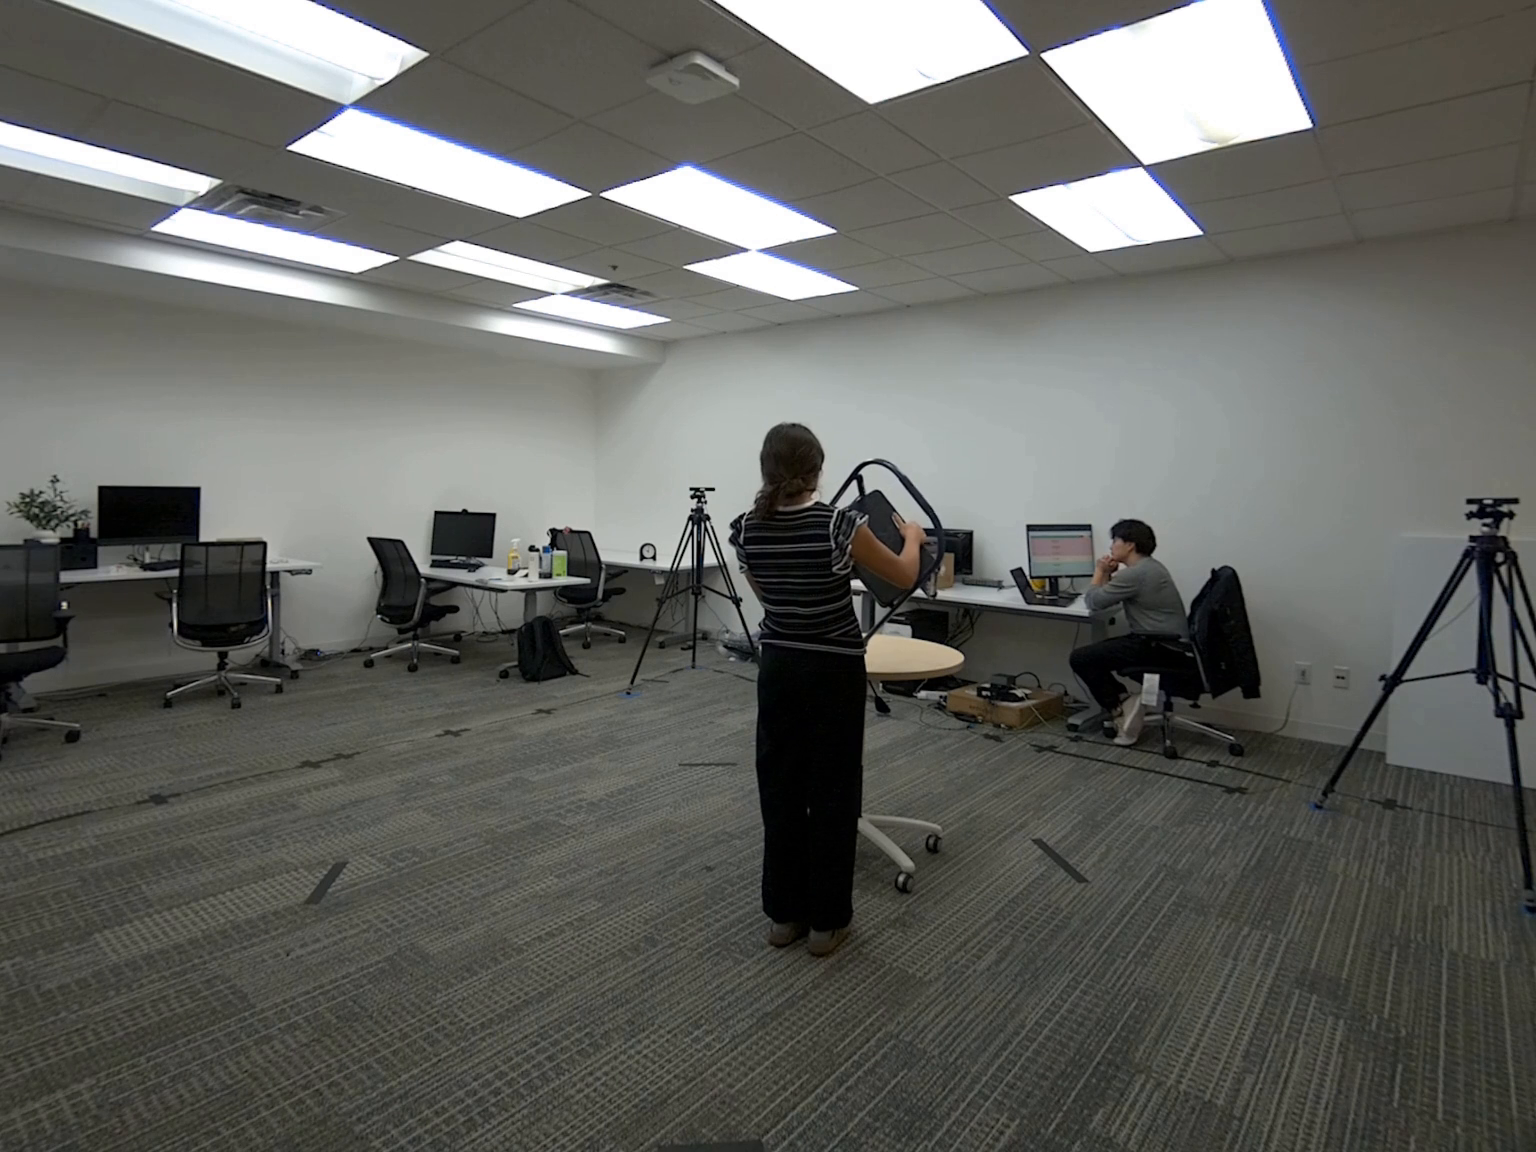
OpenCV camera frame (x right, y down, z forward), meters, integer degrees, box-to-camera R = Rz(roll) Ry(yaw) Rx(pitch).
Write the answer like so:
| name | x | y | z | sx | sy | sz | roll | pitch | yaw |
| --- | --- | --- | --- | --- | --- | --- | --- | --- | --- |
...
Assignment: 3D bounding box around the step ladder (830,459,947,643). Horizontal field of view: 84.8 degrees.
| name | x | y | z | sx | sy | sz | roll | pitch | yaw |
| --- | --- | --- | --- | --- | --- | --- | --- | --- | --- |
| step ladder | 0.344 | -0.109 | 2.763 | 0.347 | 0.442 | 0.594 | -30 | -18 | -13 |
